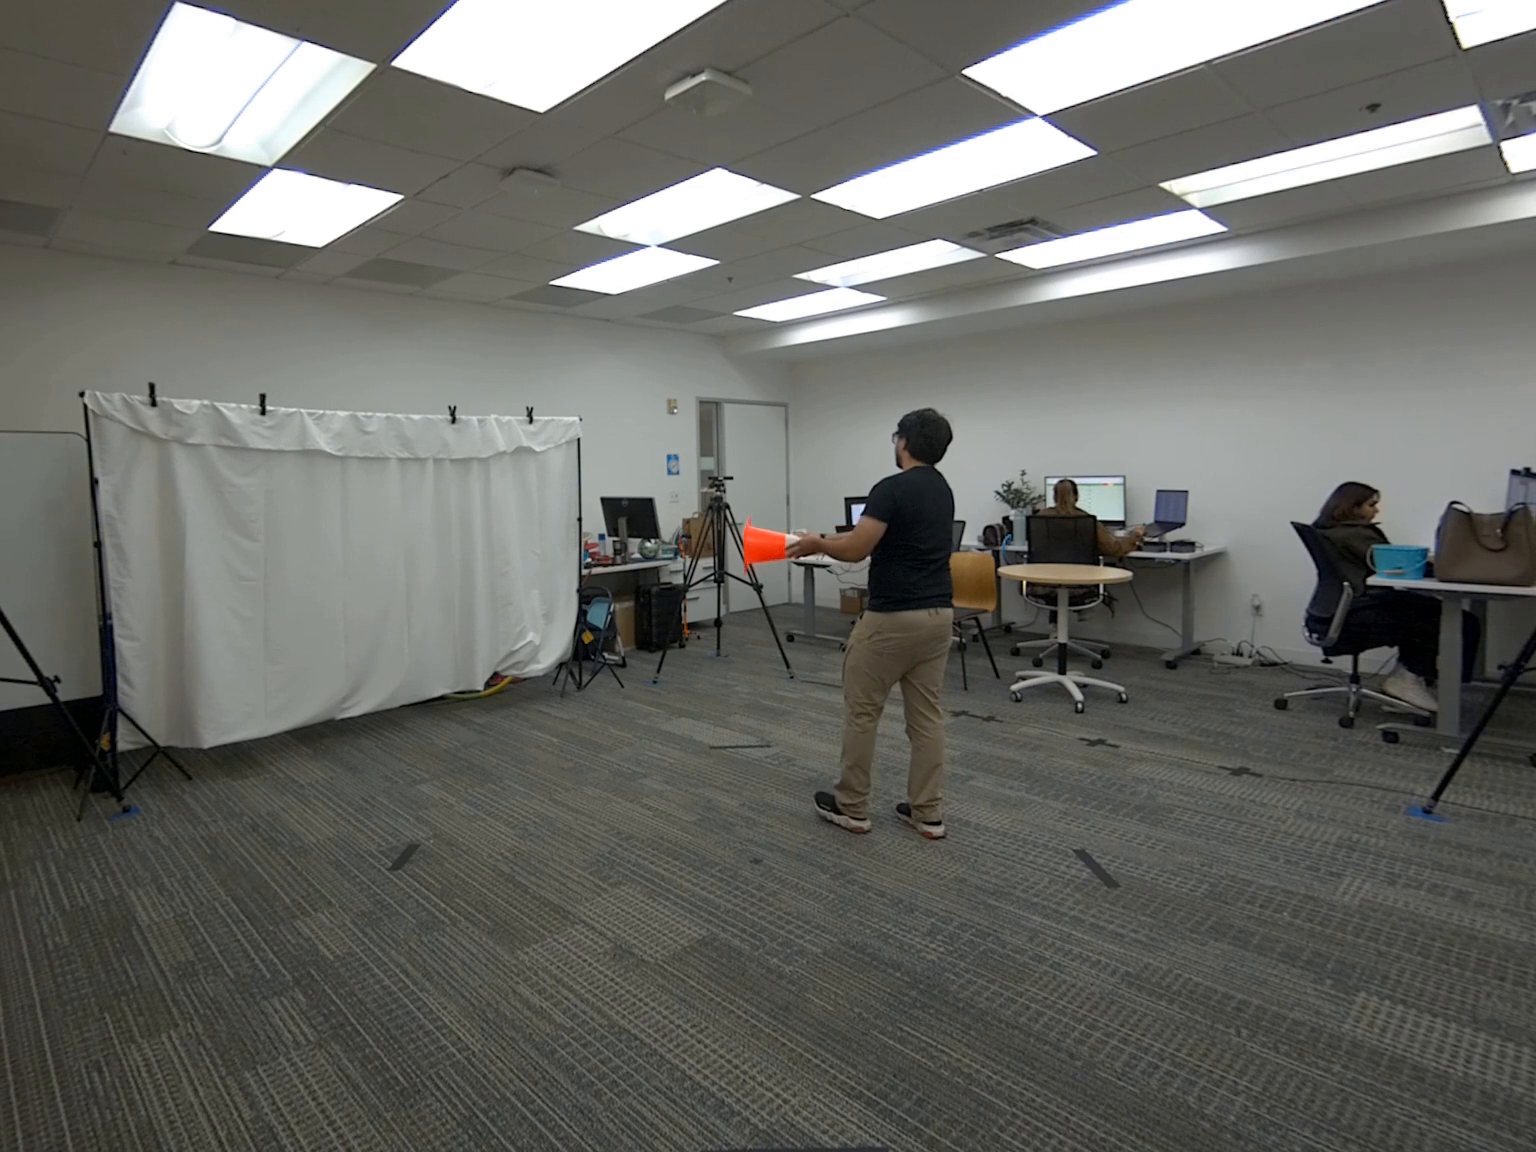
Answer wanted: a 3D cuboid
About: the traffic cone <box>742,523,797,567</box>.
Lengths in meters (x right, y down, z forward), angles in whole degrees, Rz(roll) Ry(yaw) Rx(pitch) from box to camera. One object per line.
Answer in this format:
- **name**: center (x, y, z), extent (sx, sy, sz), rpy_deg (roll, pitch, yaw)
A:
- **traffic cone**: center (0.109, -0.108, 3.612), extent (0.388, 0.200, 0.205), rpy_deg (6, 29, 11)
